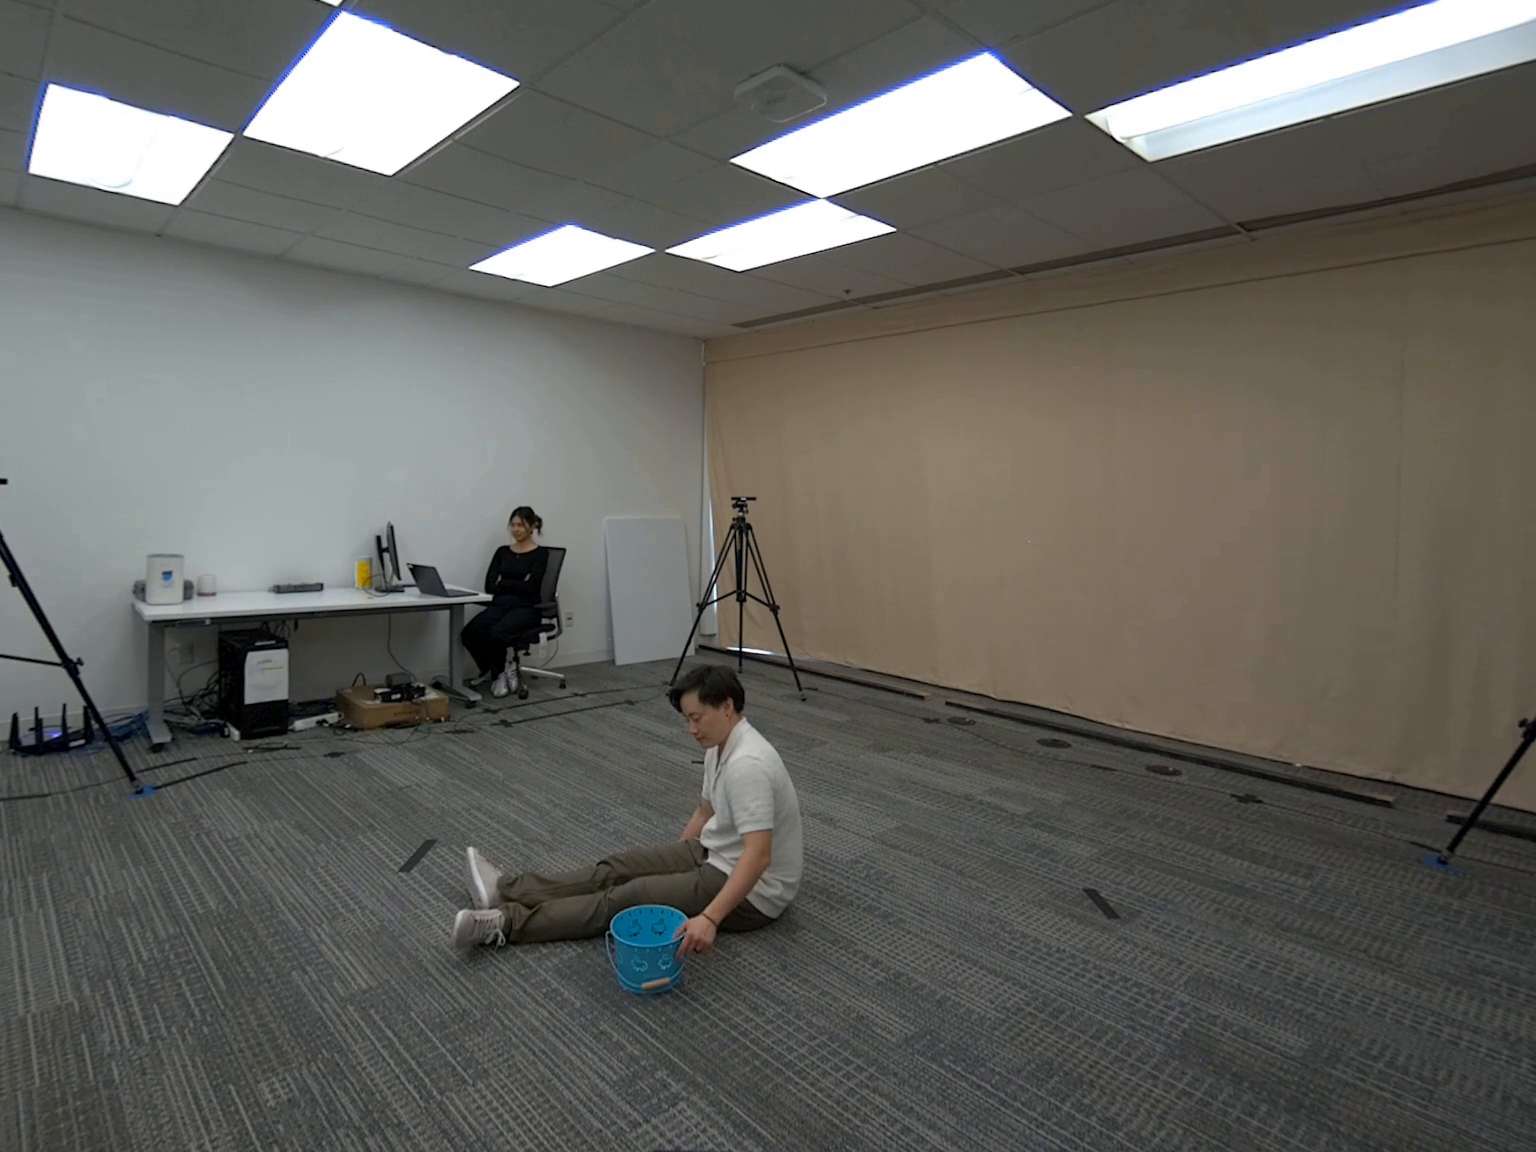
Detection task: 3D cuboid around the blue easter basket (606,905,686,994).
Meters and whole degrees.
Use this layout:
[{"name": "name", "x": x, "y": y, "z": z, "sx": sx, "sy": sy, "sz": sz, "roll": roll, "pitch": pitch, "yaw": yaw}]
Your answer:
[{"name": "blue easter basket", "x": -0.357, "y": 1.088, "z": 2.433, "sx": 0.243, "sy": 0.155, "sz": 0.244, "roll": 1, "pitch": 4, "yaw": -1}]
